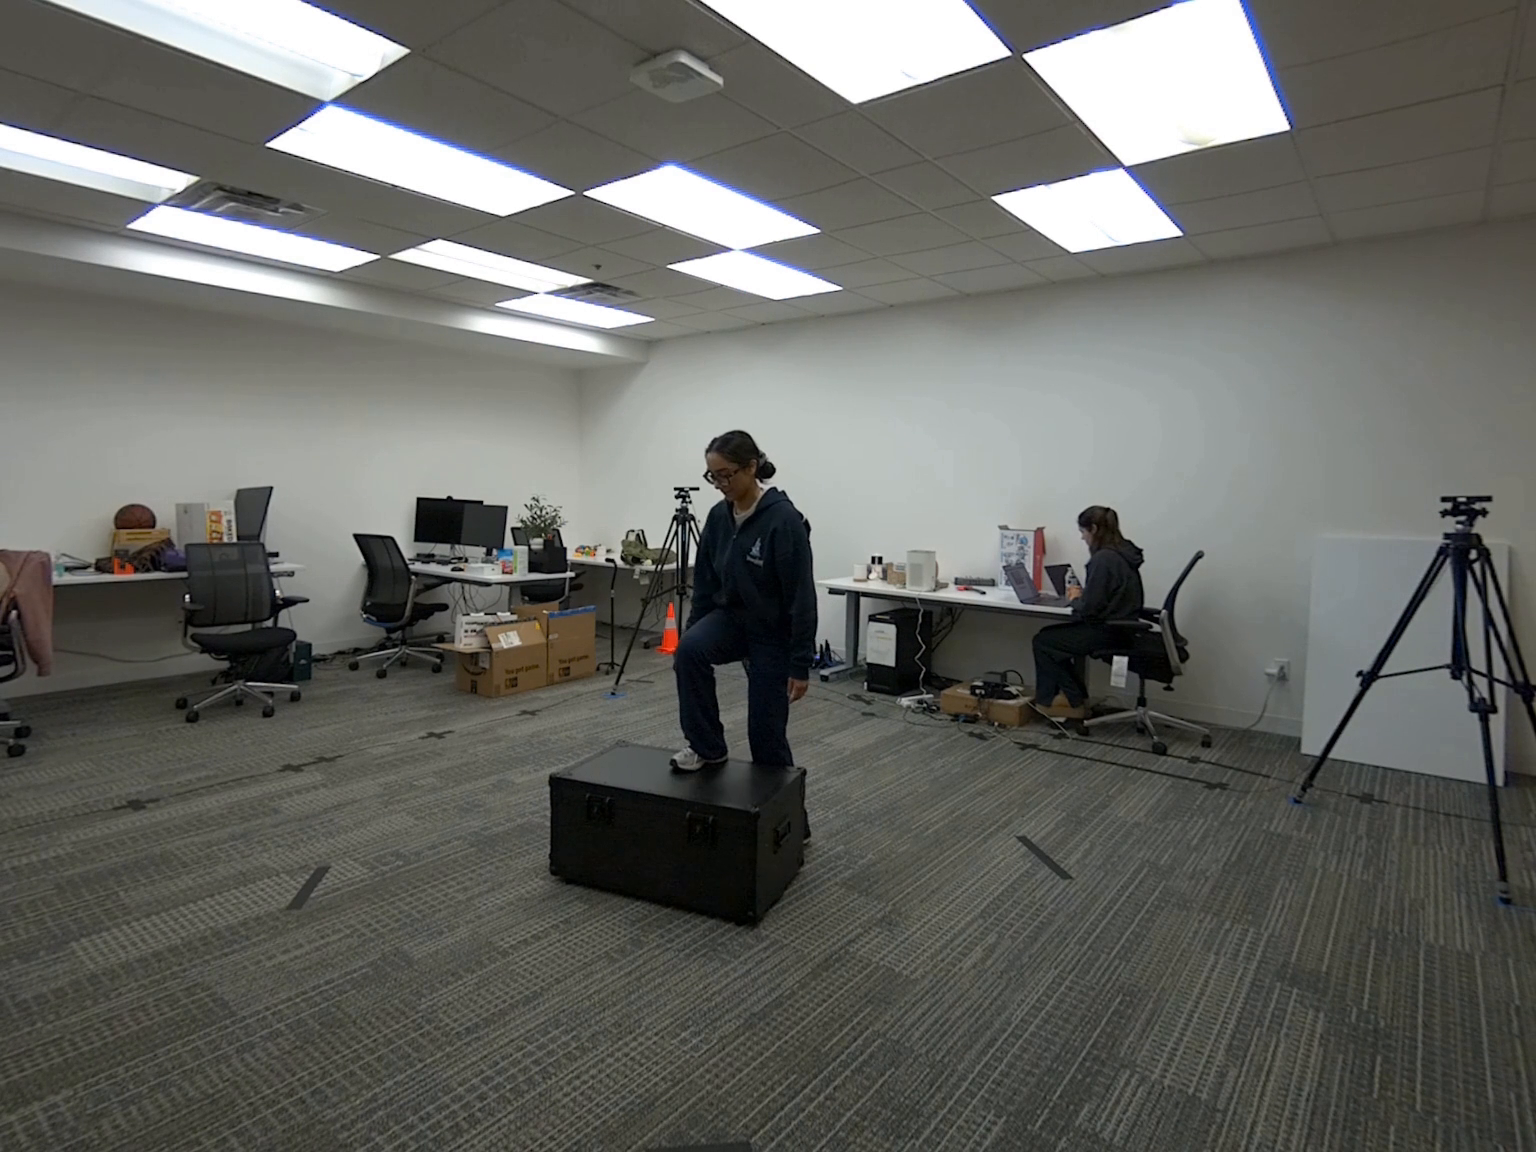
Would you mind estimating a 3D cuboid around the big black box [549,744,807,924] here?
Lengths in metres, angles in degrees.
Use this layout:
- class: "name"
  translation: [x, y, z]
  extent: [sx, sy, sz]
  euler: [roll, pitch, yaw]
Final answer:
- class: "big black box"
  translation: [-0.358, 0.879, 3.052]
  extent: [0.882, 0.395, 0.511]
  euler: [3, 5, 23]
